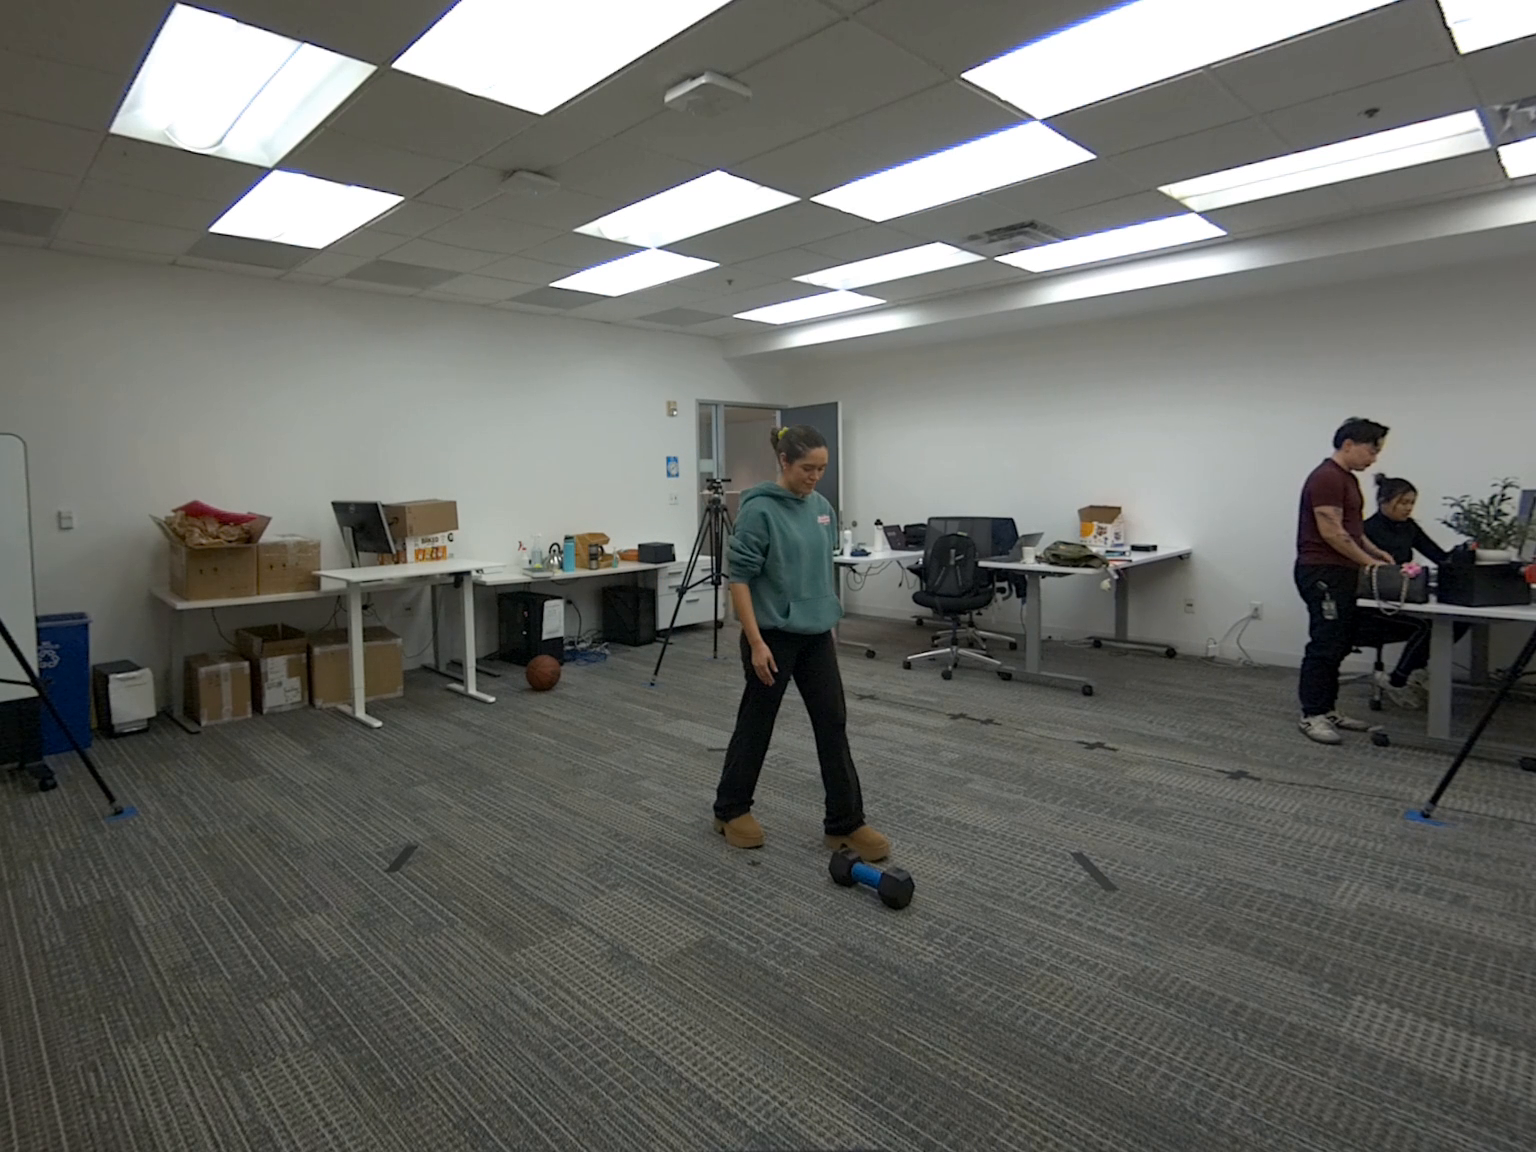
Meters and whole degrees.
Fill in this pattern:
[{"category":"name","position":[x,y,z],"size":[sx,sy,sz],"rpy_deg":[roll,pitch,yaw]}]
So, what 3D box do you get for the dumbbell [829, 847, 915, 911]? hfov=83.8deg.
[{"category":"dumbbell","position":[0.347,1.012,2.869],"size":[0.119,0.108,0.302],"rpy_deg":[-4,6,-42]}]
